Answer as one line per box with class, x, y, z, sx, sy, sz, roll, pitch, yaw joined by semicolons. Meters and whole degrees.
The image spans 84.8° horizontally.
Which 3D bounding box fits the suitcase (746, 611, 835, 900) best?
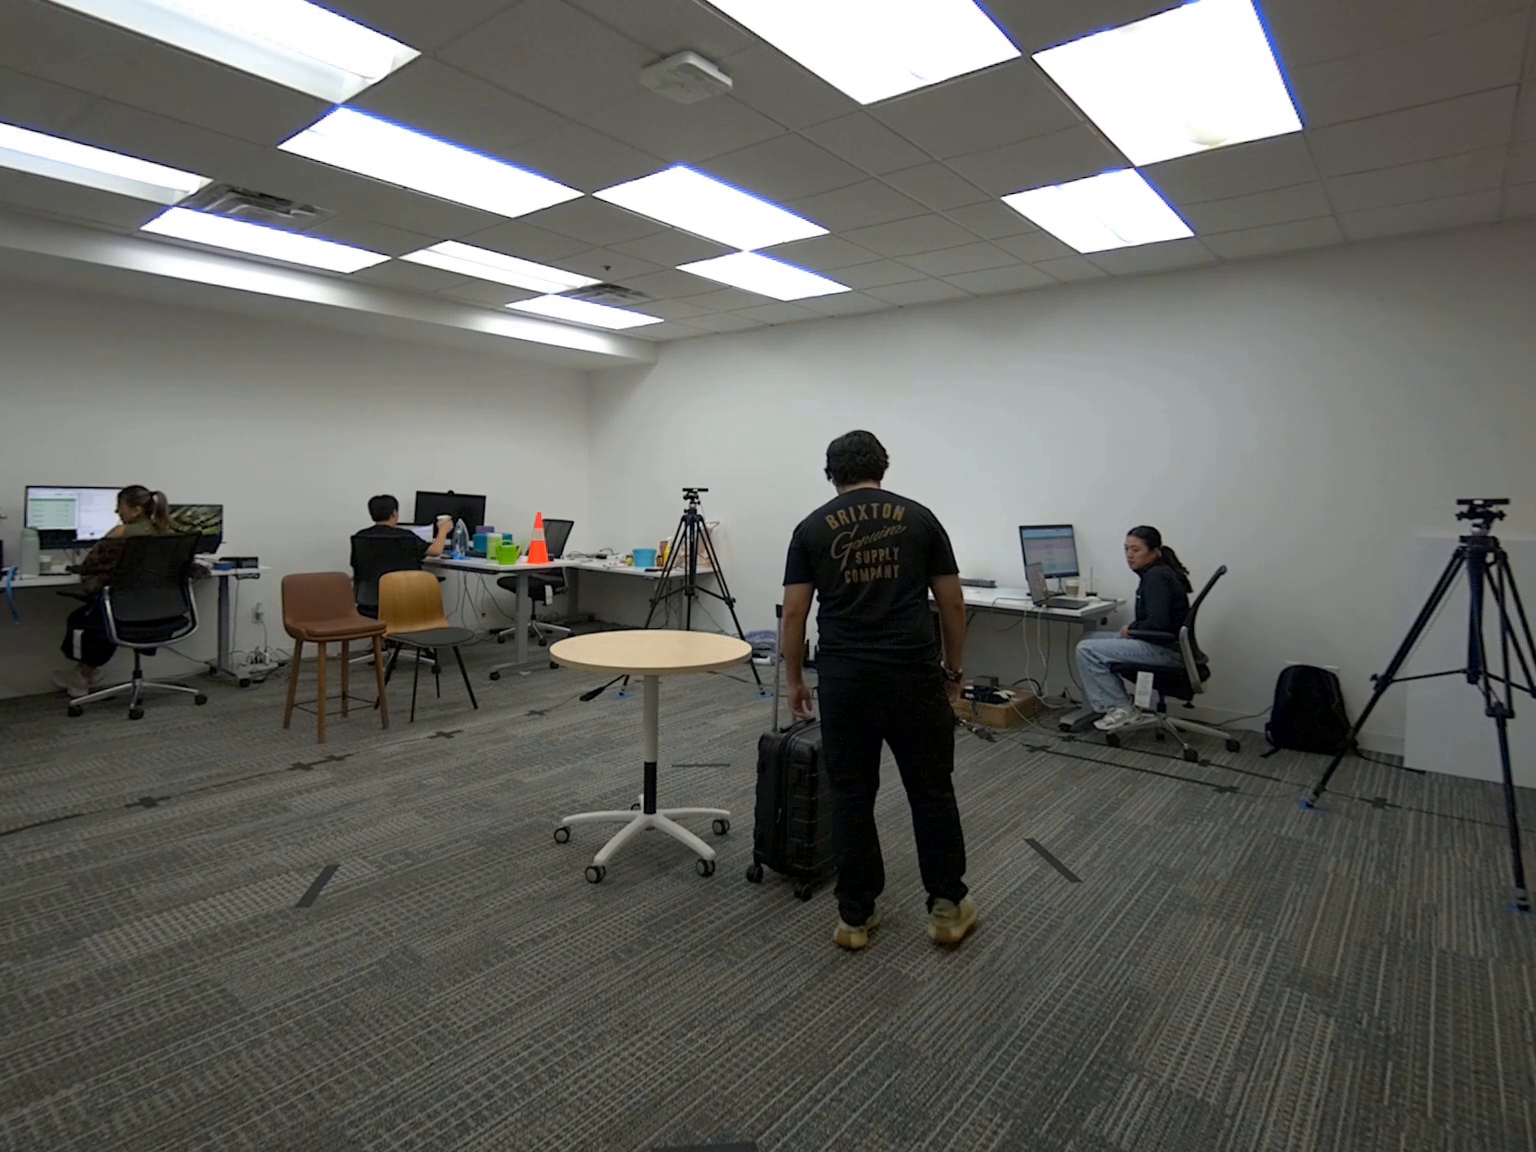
suitcase;0.141;0.599;3.068;0.265;0.976;0.373;6;4;31
